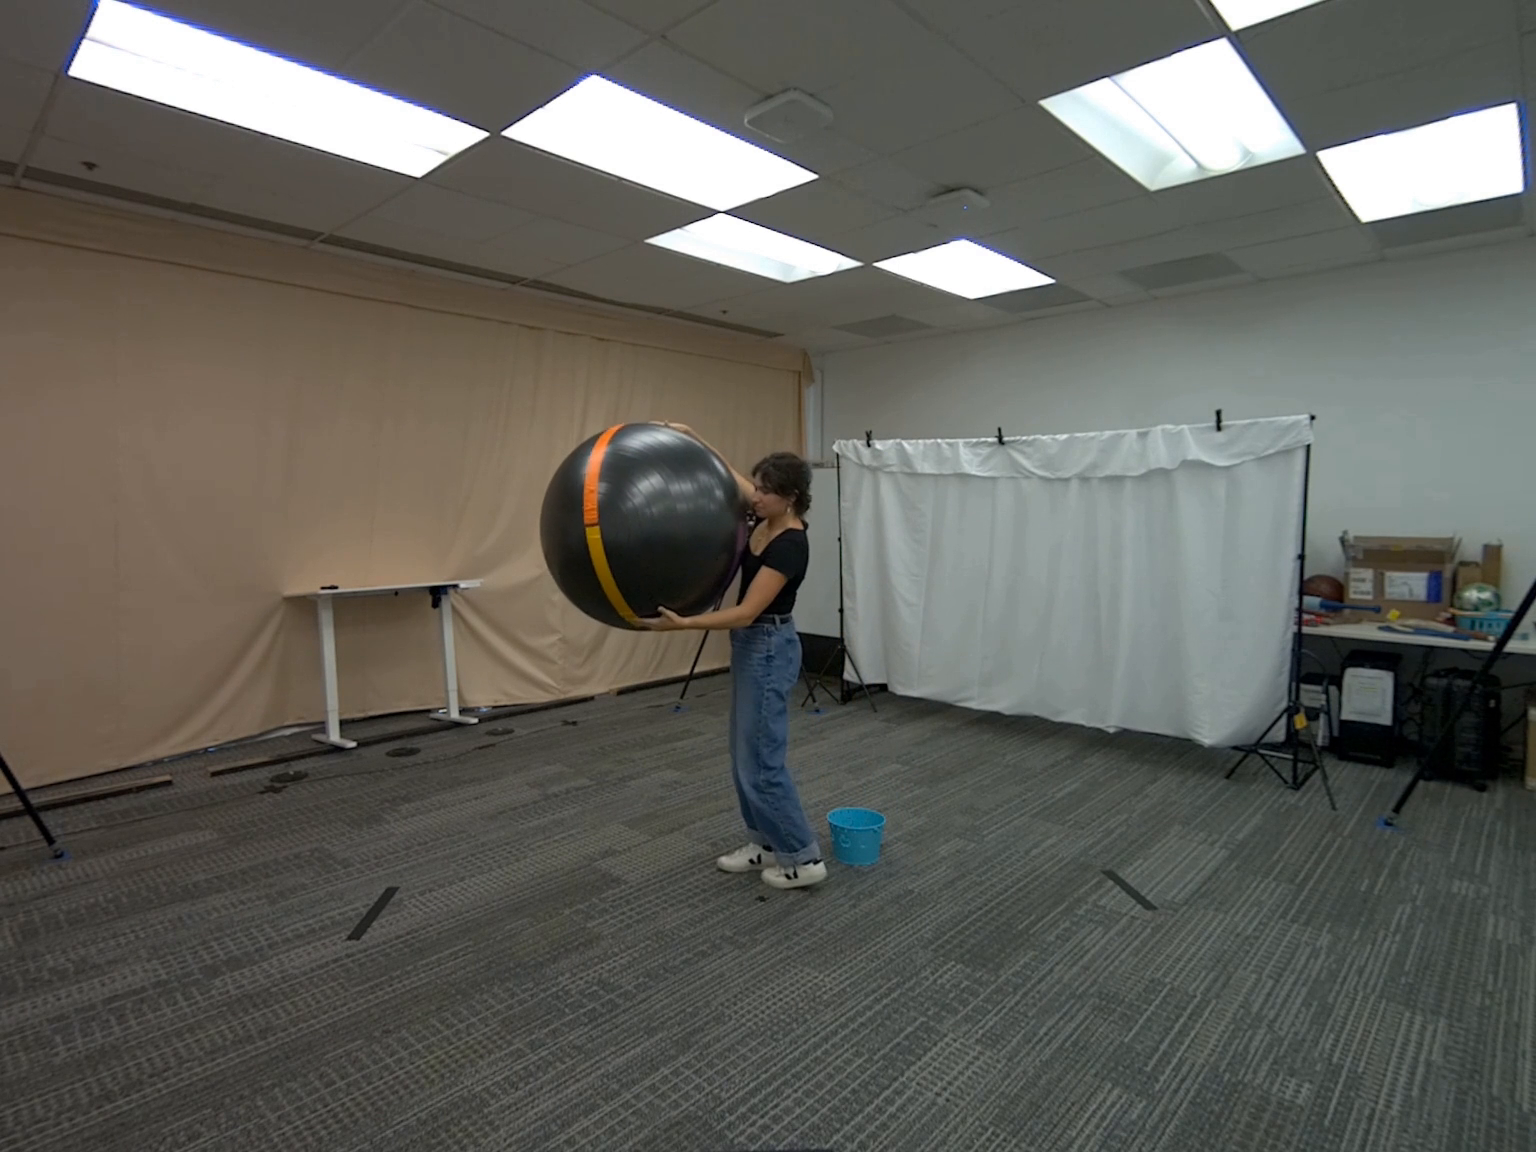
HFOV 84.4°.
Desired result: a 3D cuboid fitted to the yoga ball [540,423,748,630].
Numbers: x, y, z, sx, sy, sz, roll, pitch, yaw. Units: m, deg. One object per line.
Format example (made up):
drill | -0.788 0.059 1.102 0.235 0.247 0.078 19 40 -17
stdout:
yoga ball | -0.458 -0.177 3.091 0.757 0.756 0.760 0 4 -2
